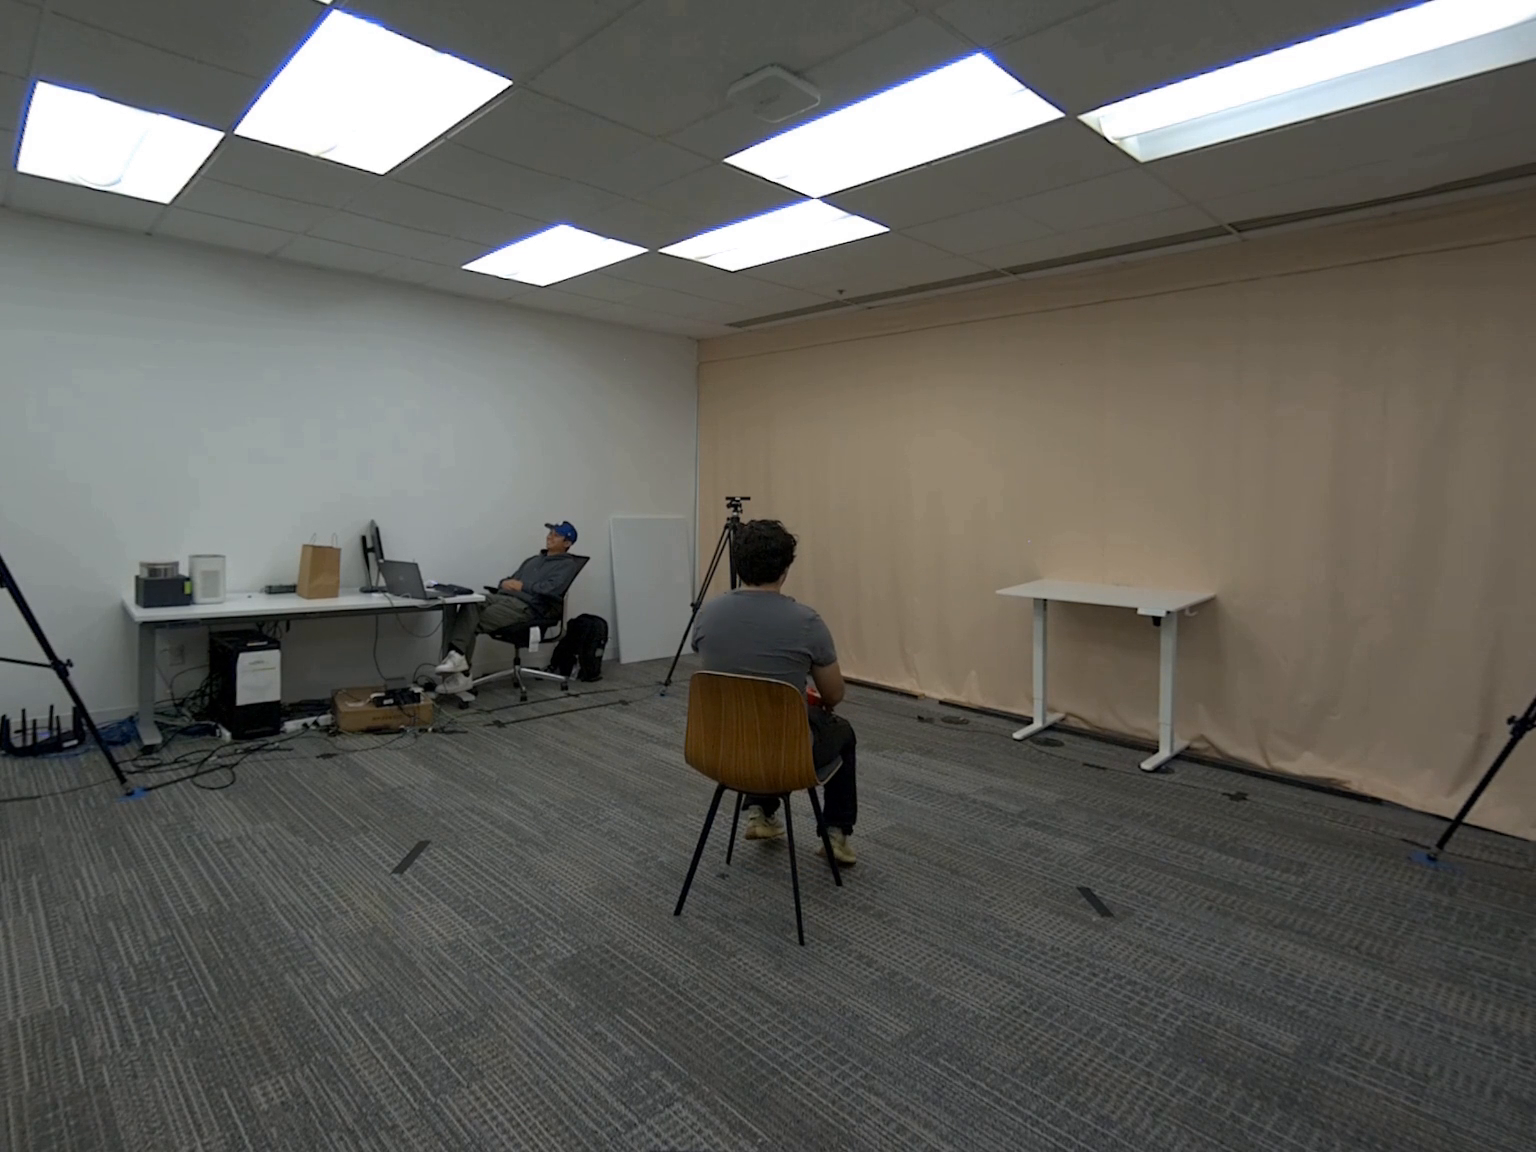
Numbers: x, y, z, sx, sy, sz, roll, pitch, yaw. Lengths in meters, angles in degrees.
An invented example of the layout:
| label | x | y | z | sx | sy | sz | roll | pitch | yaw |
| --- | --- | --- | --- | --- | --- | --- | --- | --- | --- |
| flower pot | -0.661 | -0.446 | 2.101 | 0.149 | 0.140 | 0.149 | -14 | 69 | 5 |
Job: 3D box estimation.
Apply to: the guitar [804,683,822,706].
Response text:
| label | x | y | z | sx | sy | sz | roll | pitch | yaw |
| --- | --- | --- | --- | --- | --- | --- | --- | --- | --- |
| guitar | 0.035 | 0.384 | 3.298 | 0.514 | 0.071 | 0.187 | 31 | 2 | 42 |
